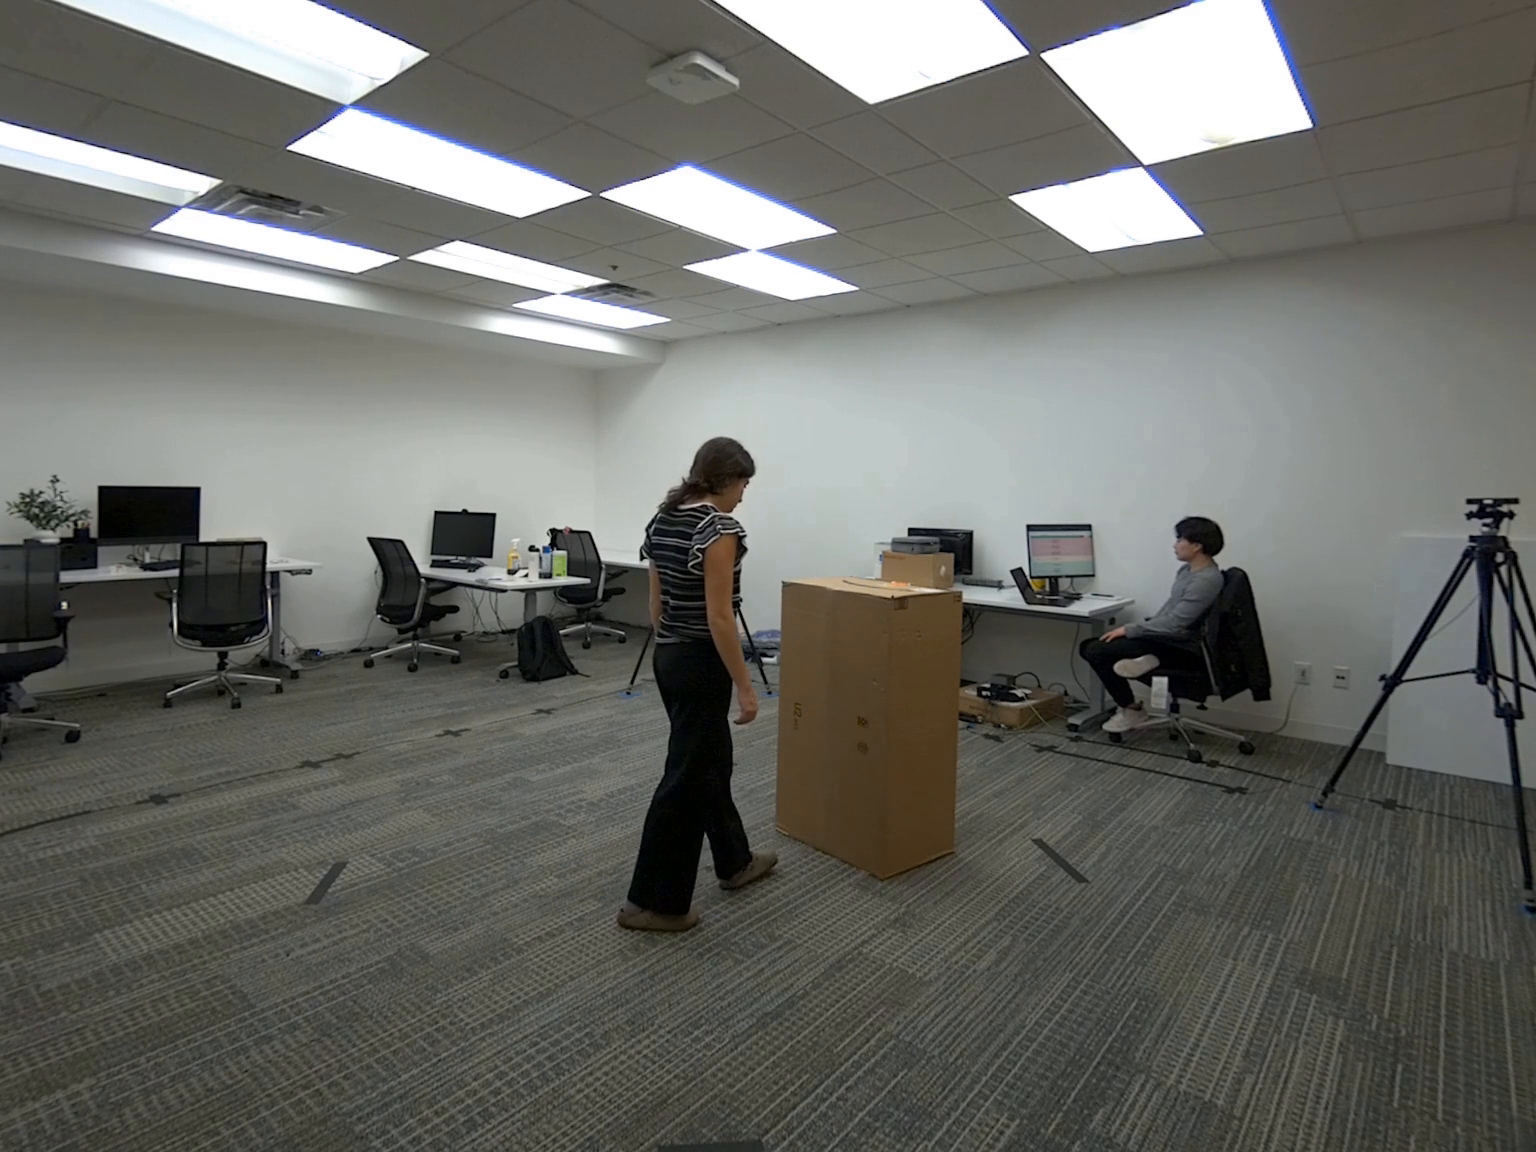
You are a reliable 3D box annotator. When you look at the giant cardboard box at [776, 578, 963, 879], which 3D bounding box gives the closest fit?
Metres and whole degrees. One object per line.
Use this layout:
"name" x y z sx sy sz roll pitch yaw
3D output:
"giant cardboard box" 0.382 0.545 3.374 0.413 1.023 0.597 -1 4 -41
